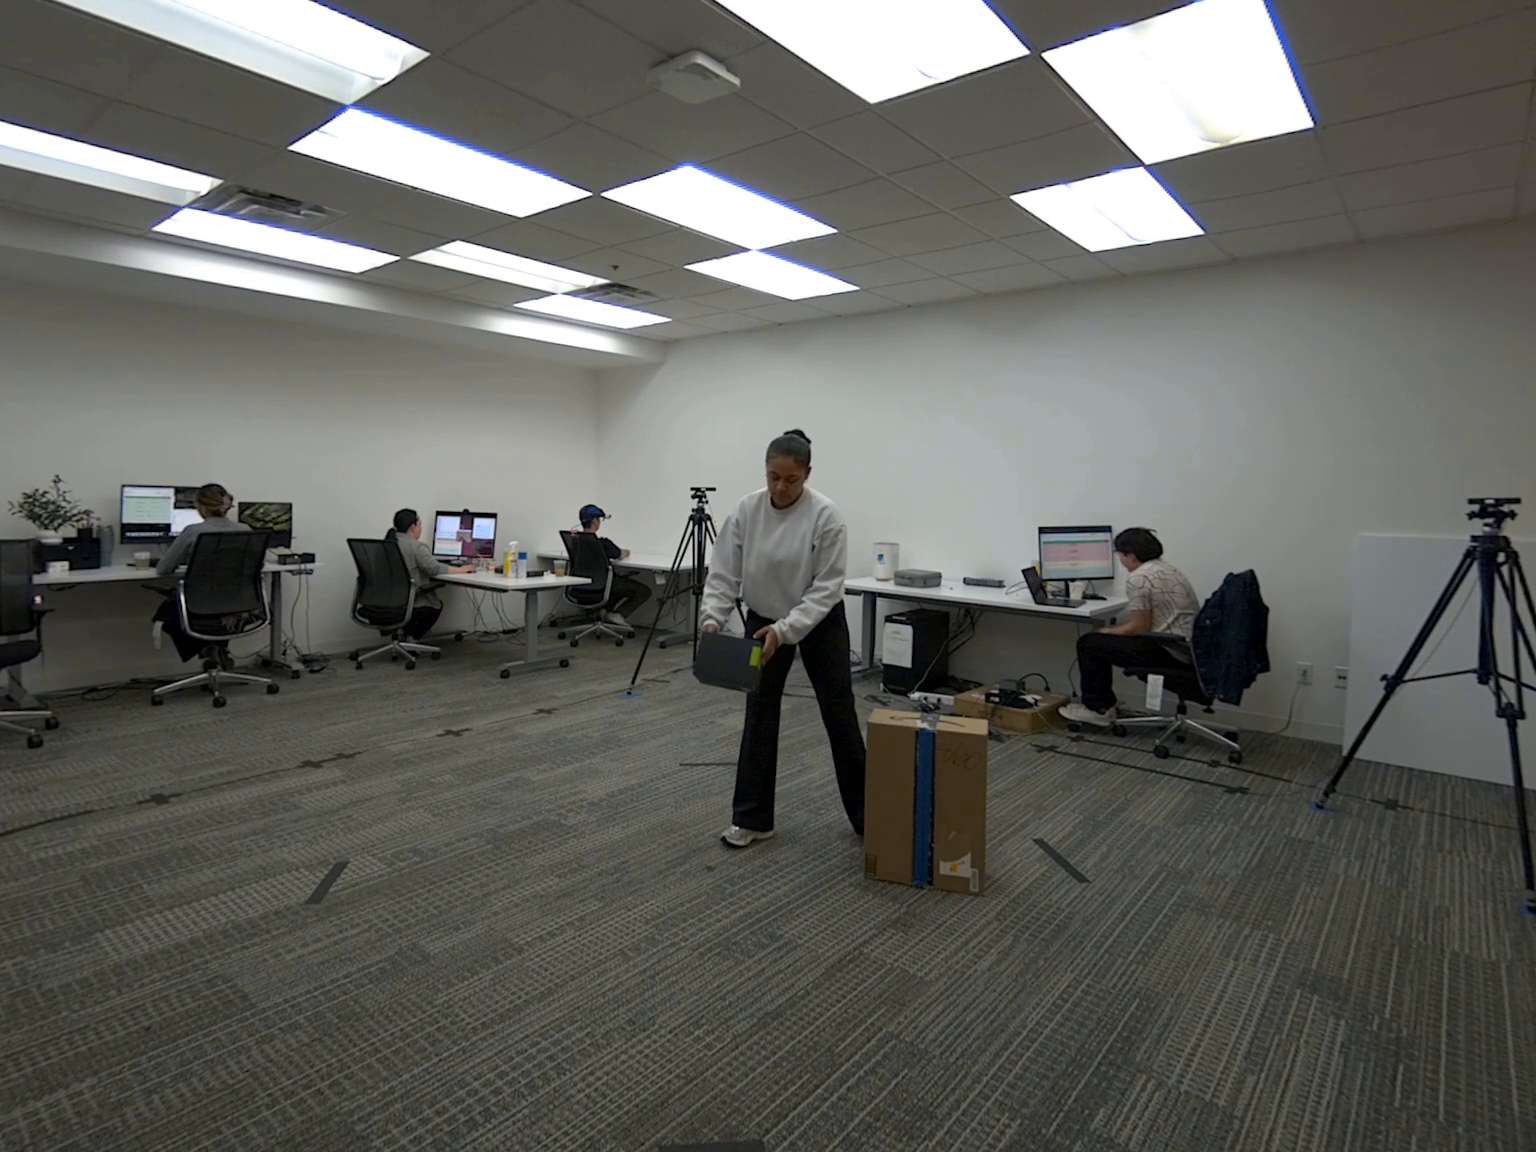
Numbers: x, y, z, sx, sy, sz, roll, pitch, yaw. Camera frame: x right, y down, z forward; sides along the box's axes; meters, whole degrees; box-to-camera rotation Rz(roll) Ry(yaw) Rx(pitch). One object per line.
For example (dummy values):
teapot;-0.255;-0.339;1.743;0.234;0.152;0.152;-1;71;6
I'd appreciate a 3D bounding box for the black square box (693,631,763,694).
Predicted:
black square box;-0.126;0.301;3.021;0.219;0.157;0.224;11;-11;7
